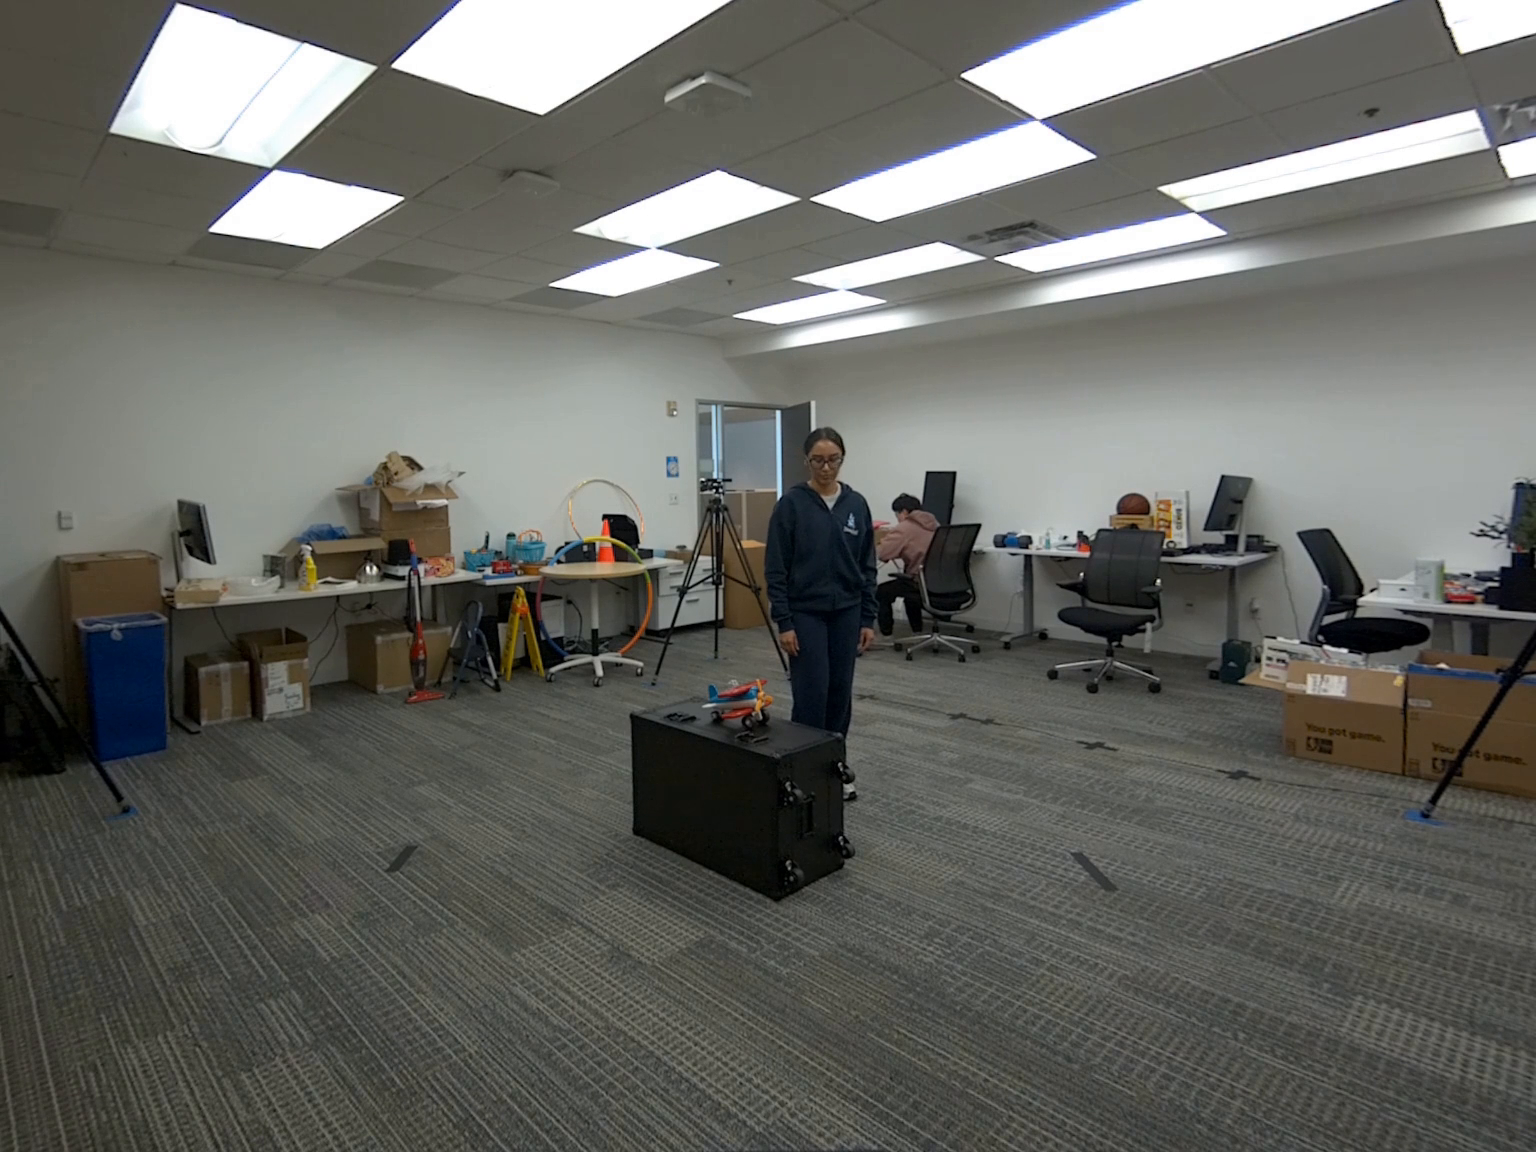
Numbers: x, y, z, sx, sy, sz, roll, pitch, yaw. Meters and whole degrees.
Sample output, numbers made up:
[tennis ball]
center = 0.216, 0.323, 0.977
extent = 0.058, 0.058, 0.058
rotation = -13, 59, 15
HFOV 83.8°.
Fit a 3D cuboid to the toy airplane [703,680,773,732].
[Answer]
[toy airplane]
center = -0.126, 0.478, 3.175
extent = 0.261, 0.155, 0.250
rotation = 0, 7, 8
